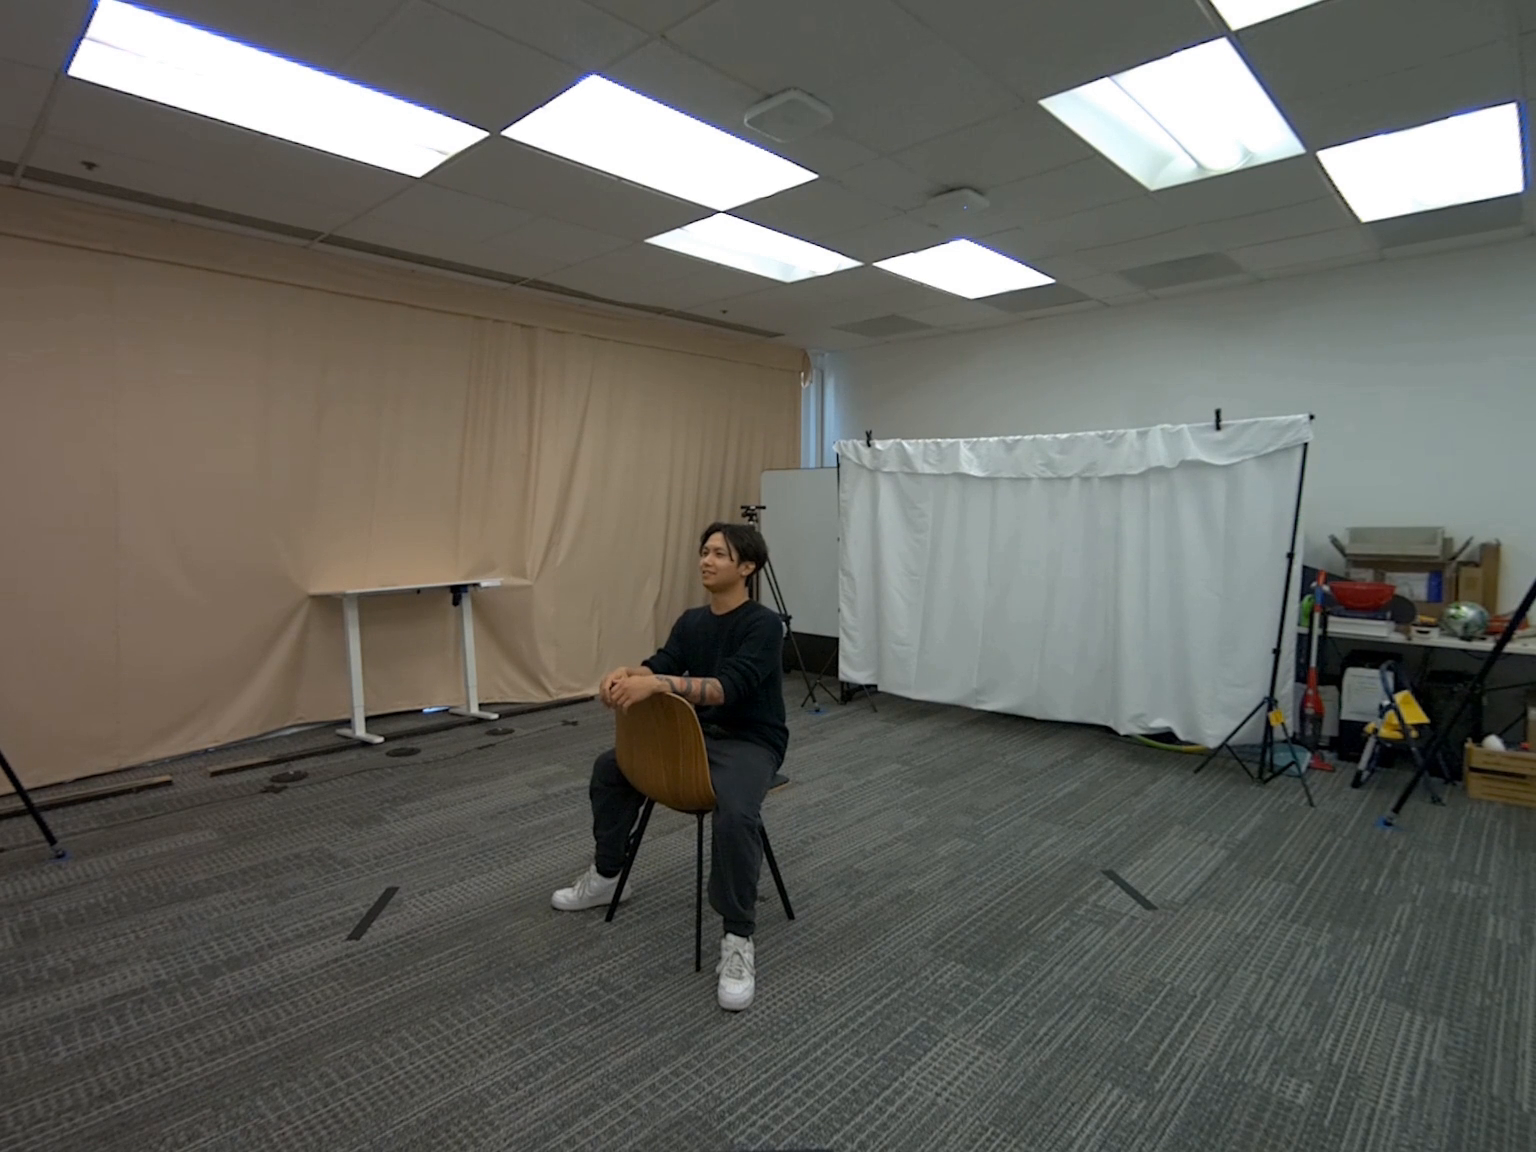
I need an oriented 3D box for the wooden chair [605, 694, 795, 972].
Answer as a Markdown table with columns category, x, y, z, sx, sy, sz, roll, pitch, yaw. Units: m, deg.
| category | x | y | z | sx | sy | sz | roll | pitch | yaw |
| --- | --- | --- | --- | --- | --- | --- | --- | --- | --- |
| wooden chair | -0.220 | 0.728 | 2.820 | 0.494 | 0.874 | 0.508 | 2 | 8 | 43 |
